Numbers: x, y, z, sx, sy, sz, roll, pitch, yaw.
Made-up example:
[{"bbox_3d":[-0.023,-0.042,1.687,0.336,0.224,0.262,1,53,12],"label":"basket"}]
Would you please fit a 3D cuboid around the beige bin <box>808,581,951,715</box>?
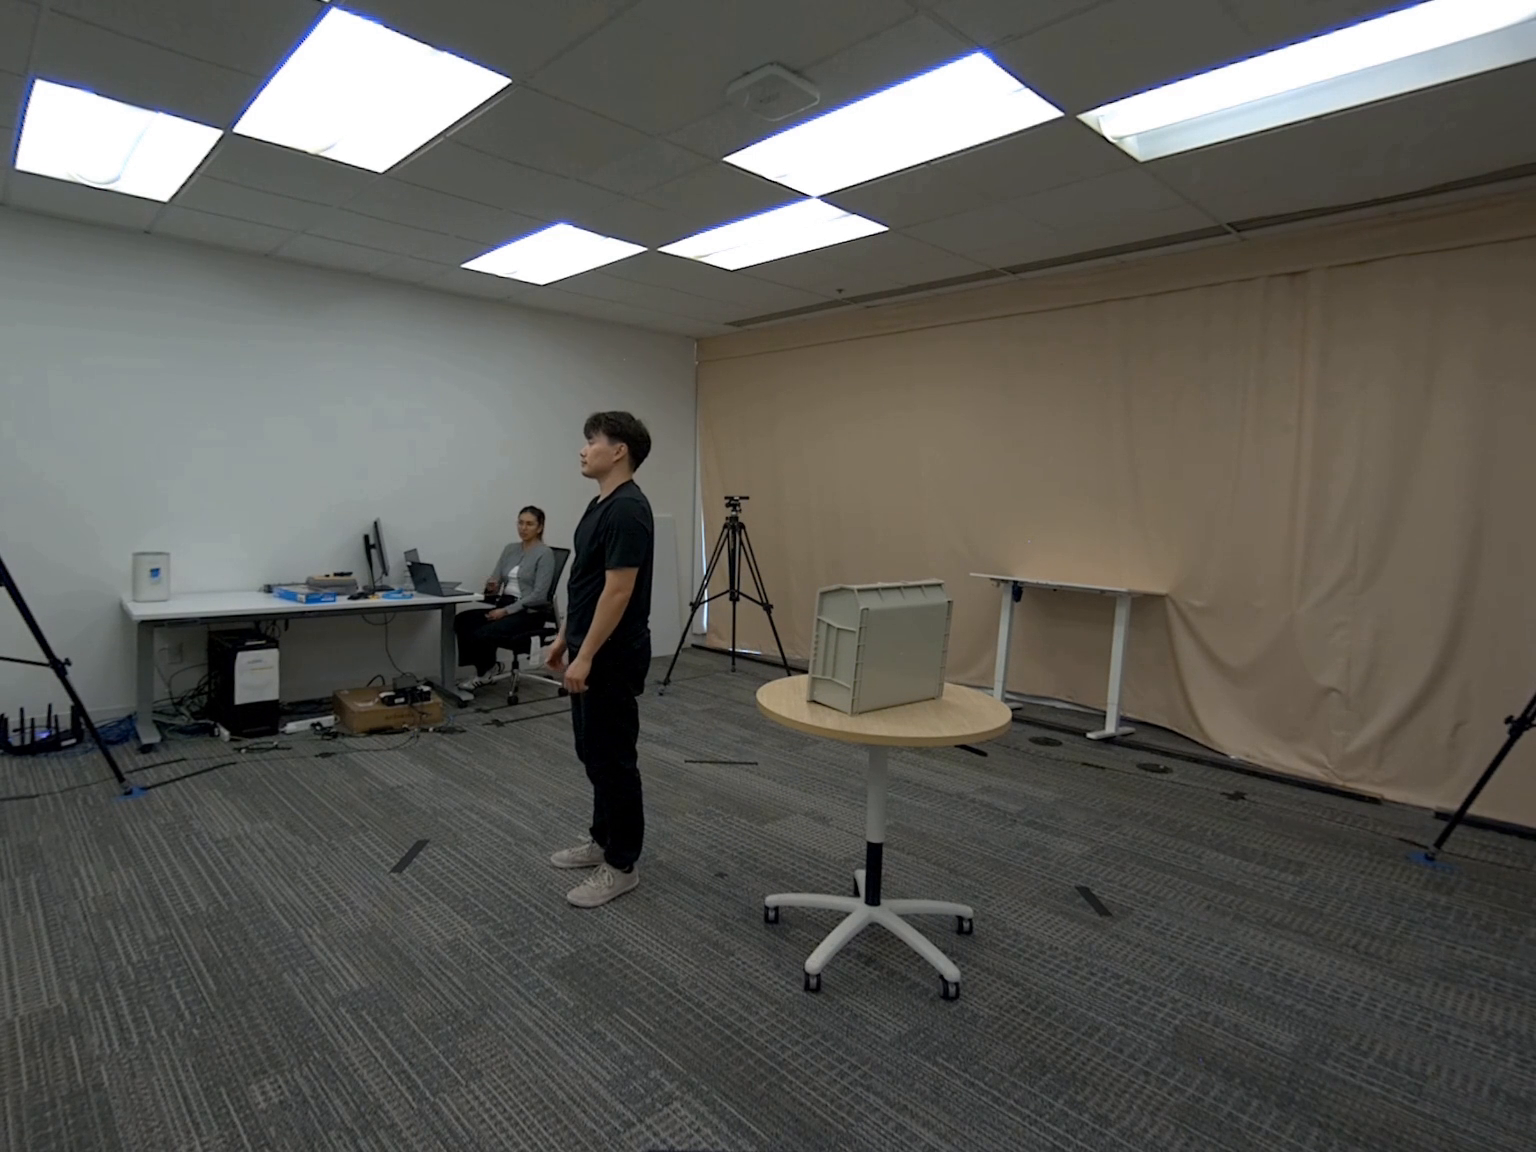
[{"bbox_3d":[0.341,0.202,2.552,0.413,0.375,0.194,-2,10,-39],"label":"beige bin"}]
